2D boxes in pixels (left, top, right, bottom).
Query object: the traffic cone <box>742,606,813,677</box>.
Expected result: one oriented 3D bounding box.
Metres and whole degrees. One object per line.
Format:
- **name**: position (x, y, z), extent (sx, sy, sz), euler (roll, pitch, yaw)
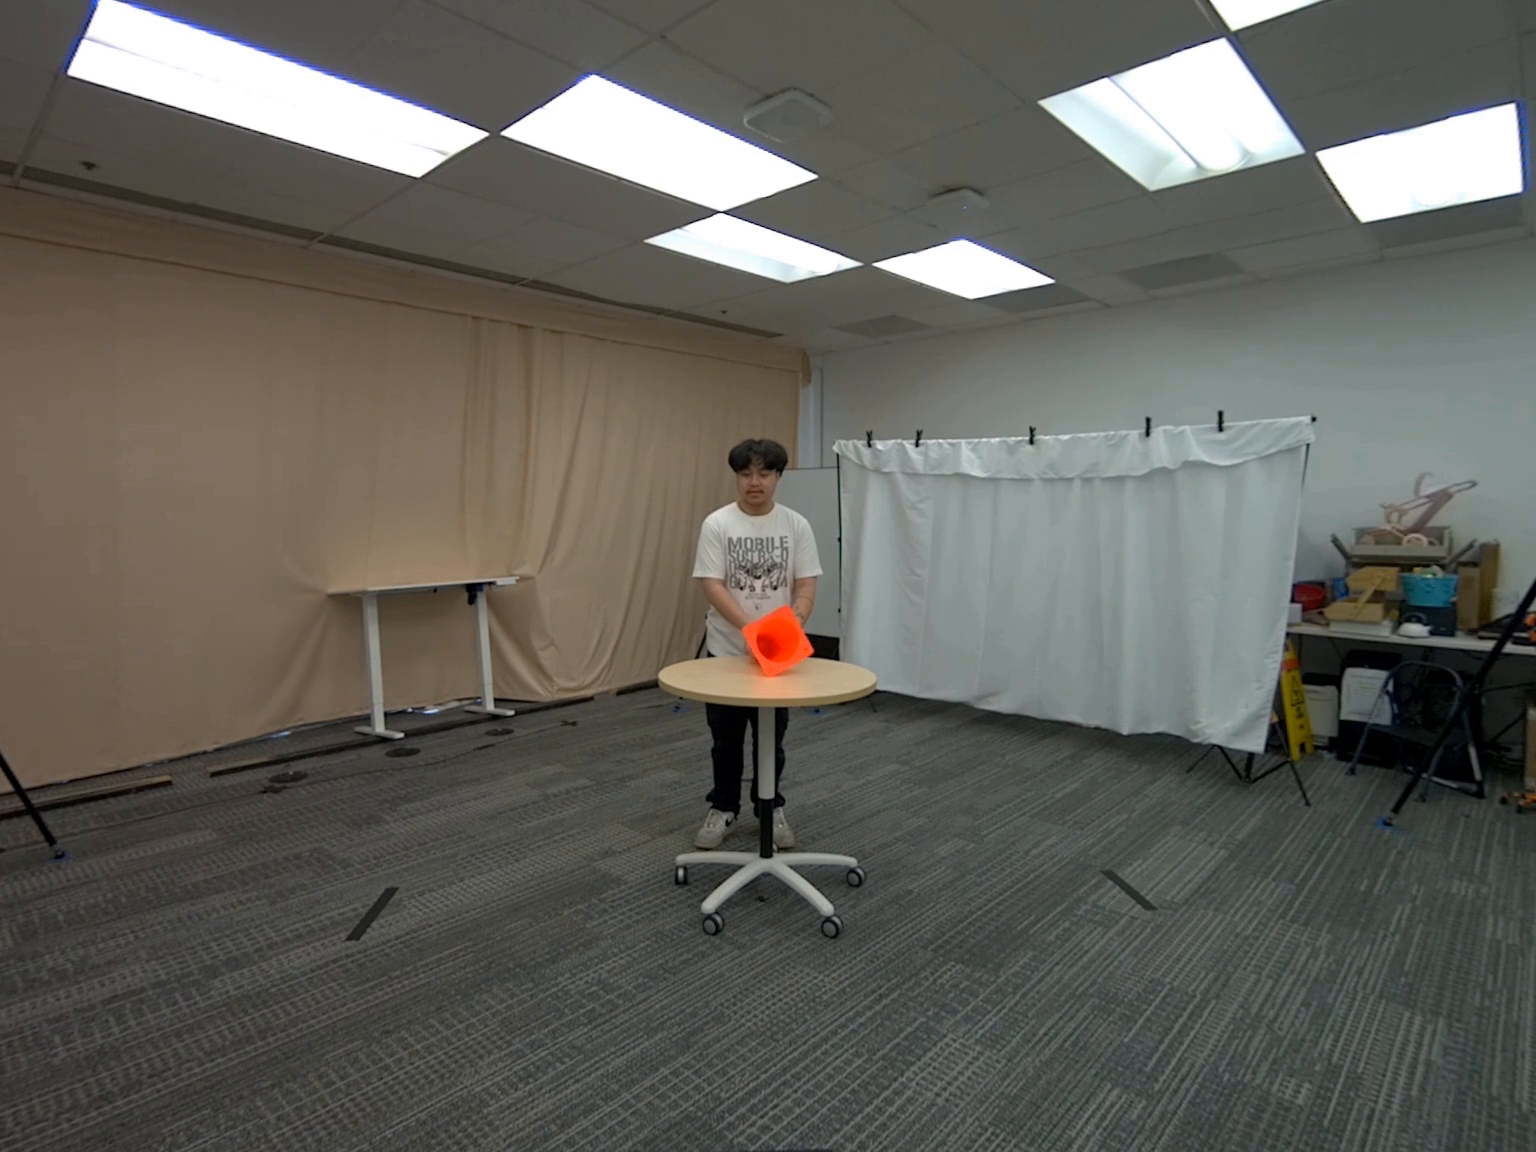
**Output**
- **traffic cone**: position (-0.007, 0.270, 3.144), extent (0.202, 0.206, 0.383), euler (-37, -5, -12)
